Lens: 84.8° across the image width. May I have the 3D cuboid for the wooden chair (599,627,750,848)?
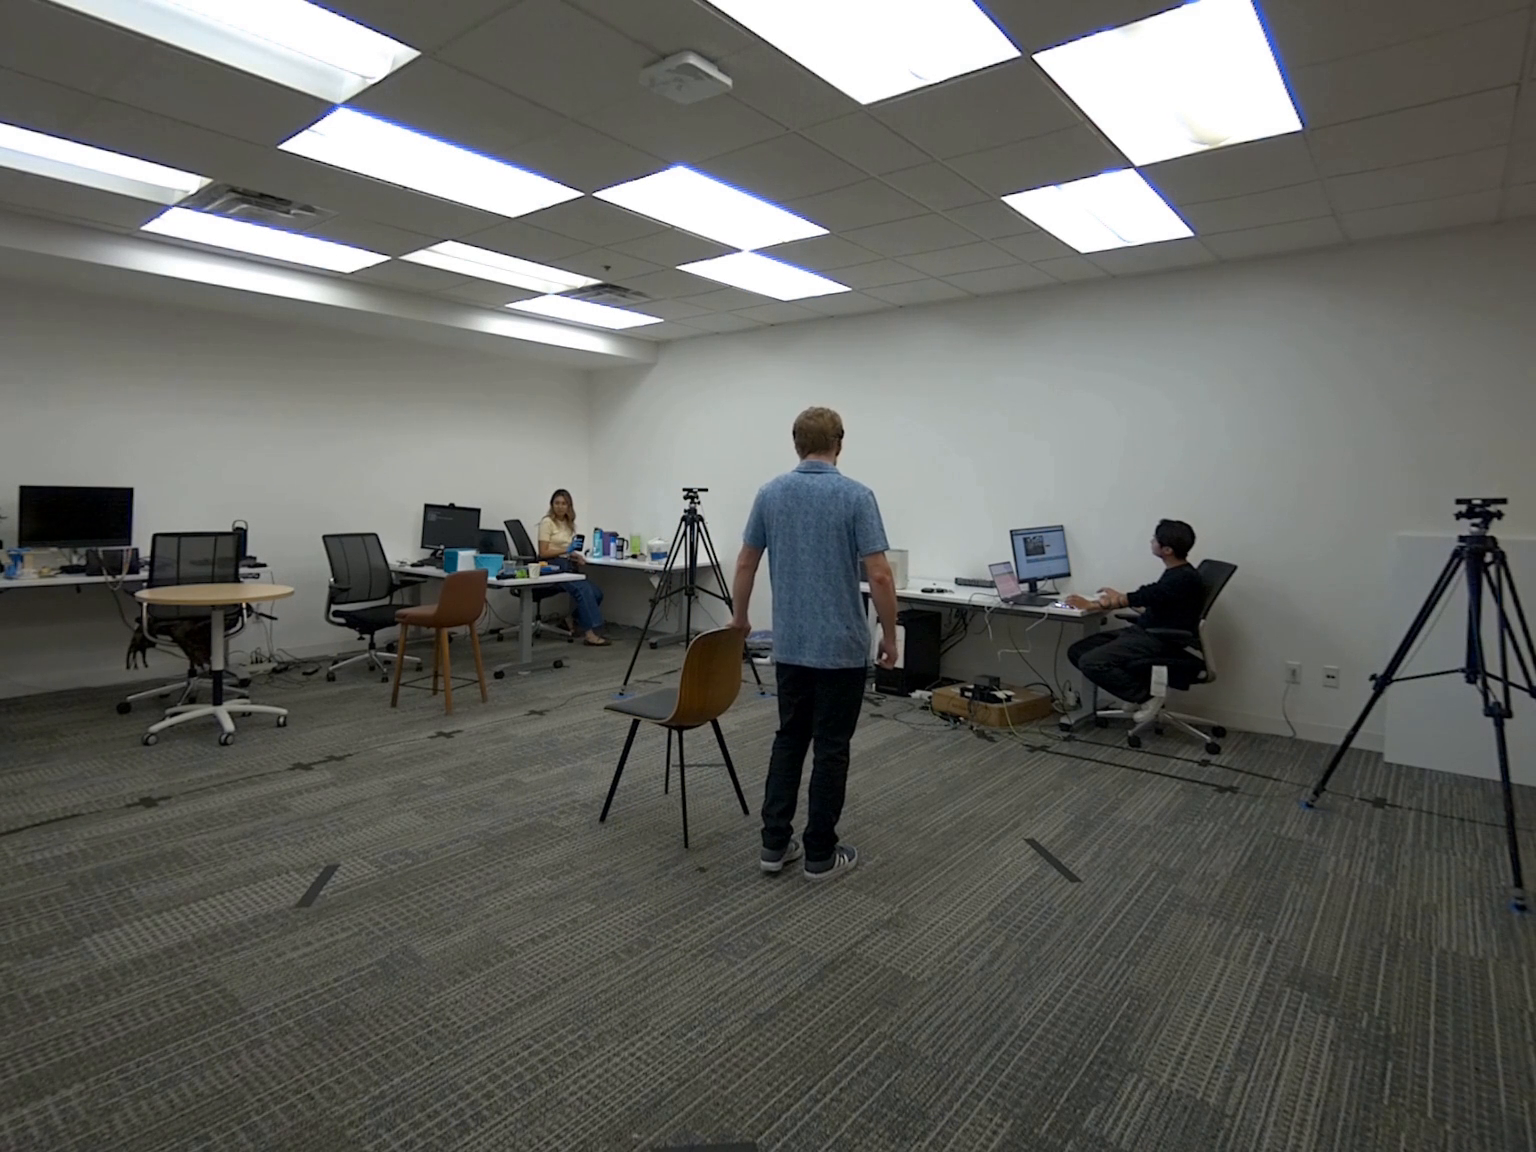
[{"bbox_3d":[-0.402,0.592,3.566,0.540,0.873,0.465,9,7,33],"label":"wooden chair"}]
